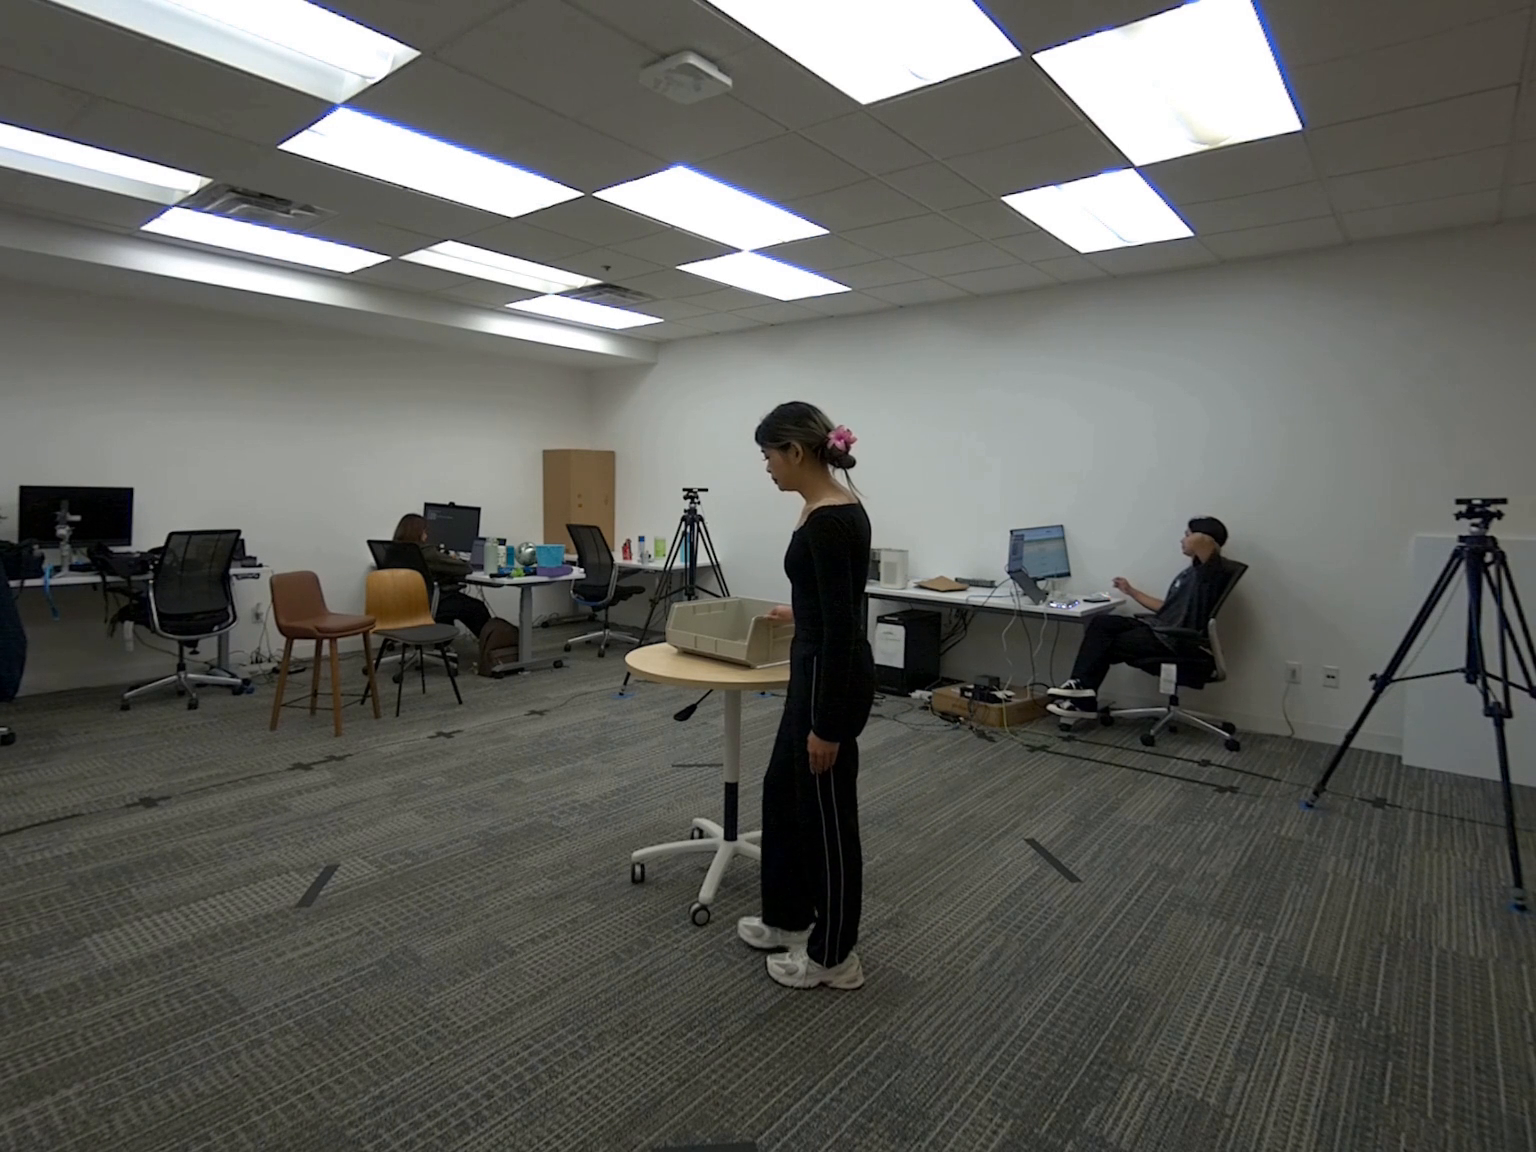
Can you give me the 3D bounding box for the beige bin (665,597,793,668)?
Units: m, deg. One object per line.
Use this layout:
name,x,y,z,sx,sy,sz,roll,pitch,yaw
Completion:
beige bin,-0.096,0.195,3.049,0.436,0.188,0.366,5,5,44
